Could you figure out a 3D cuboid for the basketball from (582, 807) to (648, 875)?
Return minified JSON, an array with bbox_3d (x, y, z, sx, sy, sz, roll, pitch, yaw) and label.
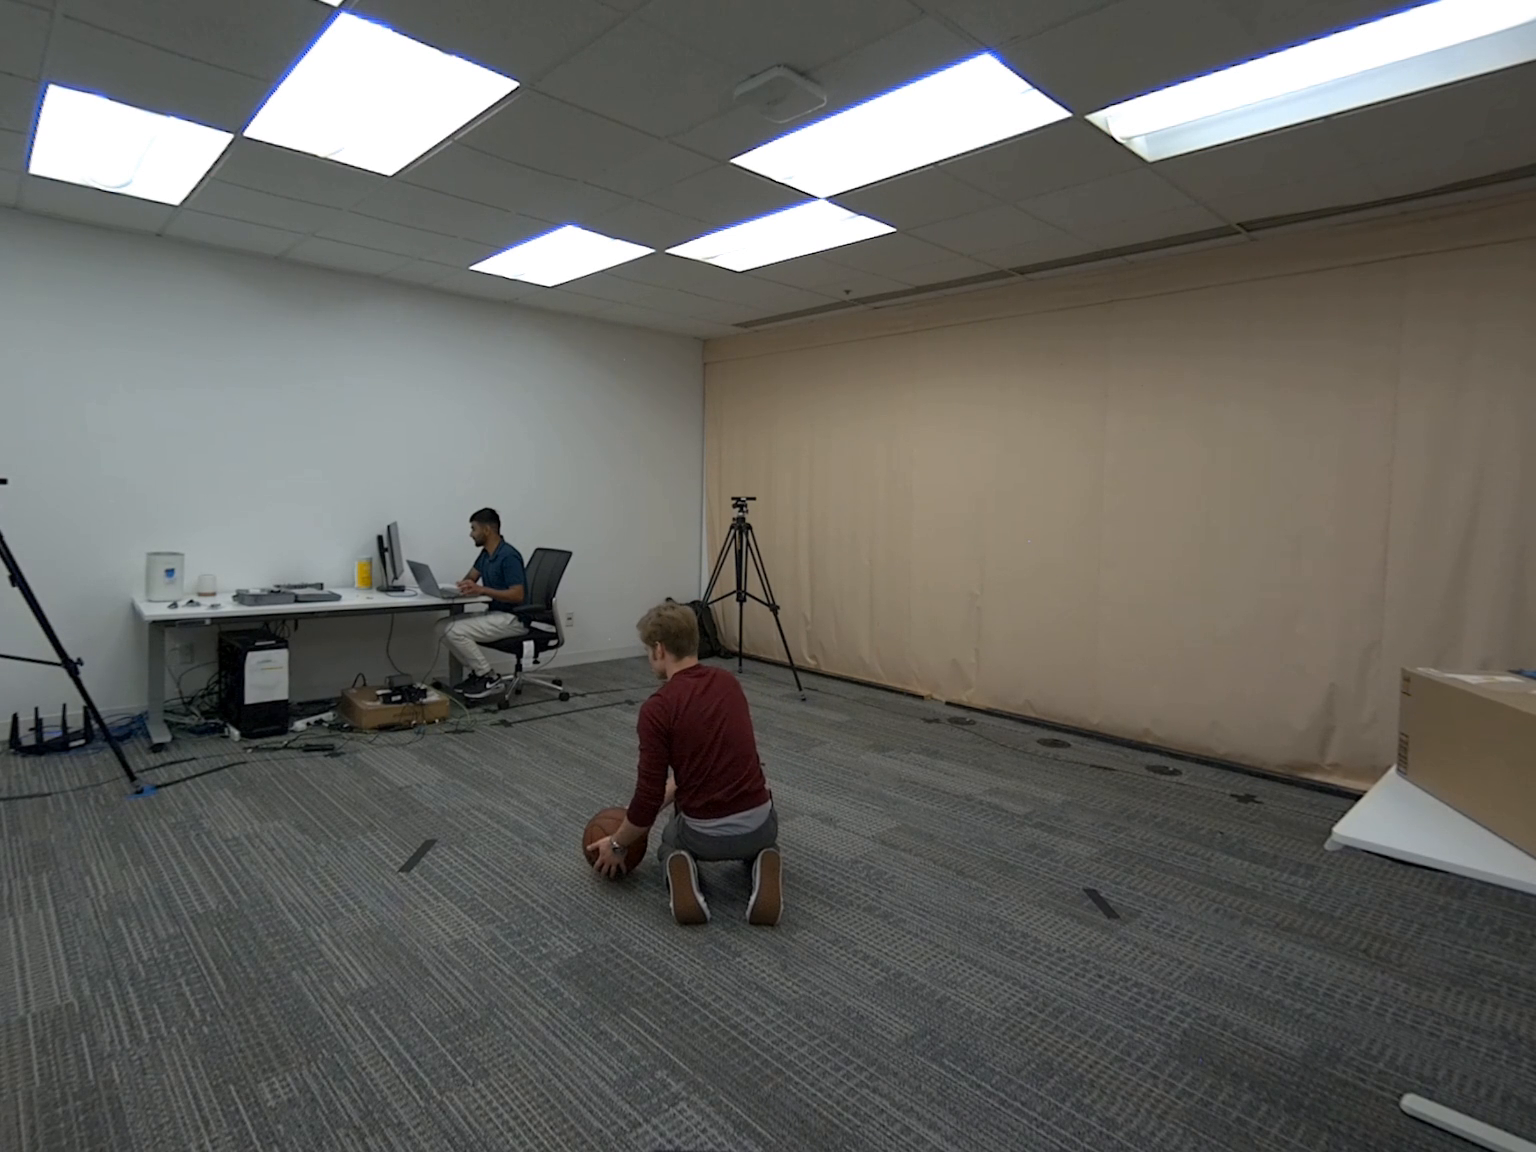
[{"bbox_3d":[-0.562,0.957,3.083,0.236,0.235,0.237,1,4,-1],"label":"basketball"}]
